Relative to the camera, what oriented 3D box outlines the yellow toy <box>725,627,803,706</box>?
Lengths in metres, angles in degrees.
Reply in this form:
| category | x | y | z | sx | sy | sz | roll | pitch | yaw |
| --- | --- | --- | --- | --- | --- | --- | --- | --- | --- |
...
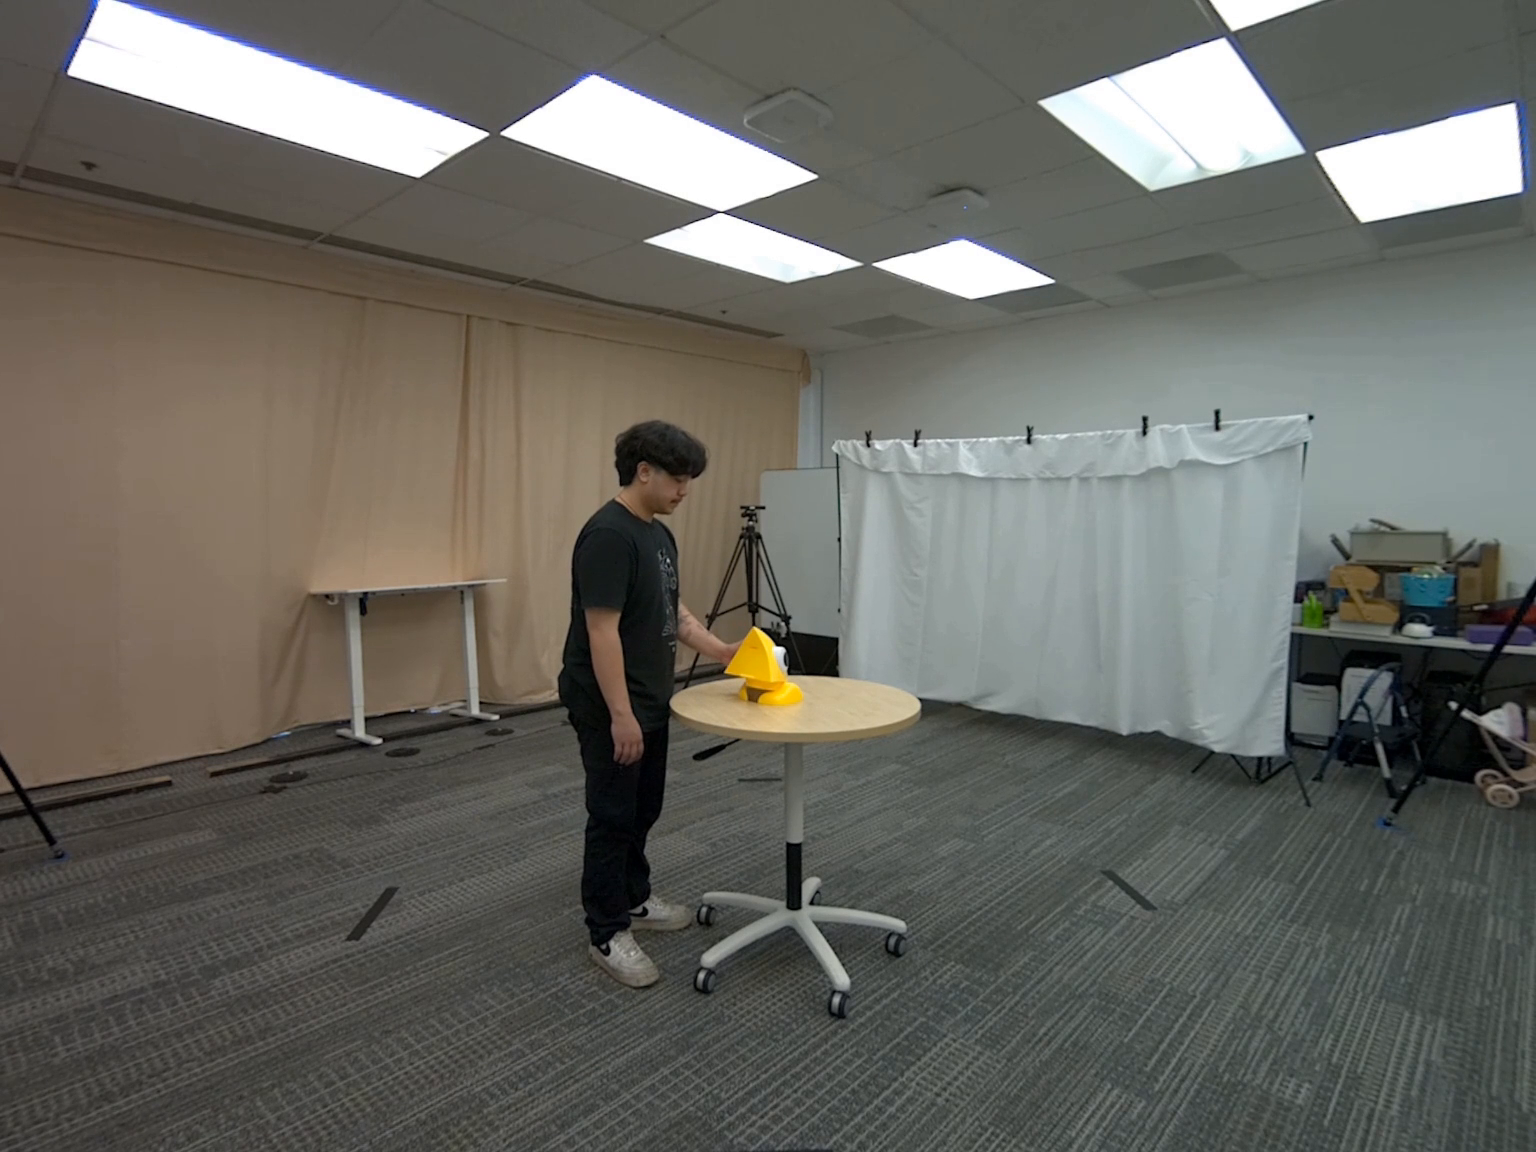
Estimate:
| category | x | y | z | sx | sy | sz | roll | pitch | yaw |
| --- | --- | --- | --- | --- | --- | --- | --- | --- | --- |
| yellow toy | 0.006 | 0.271 | 2.605 | 0.187 | 0.230 | 0.211 | -3 | 4 | -45 |
